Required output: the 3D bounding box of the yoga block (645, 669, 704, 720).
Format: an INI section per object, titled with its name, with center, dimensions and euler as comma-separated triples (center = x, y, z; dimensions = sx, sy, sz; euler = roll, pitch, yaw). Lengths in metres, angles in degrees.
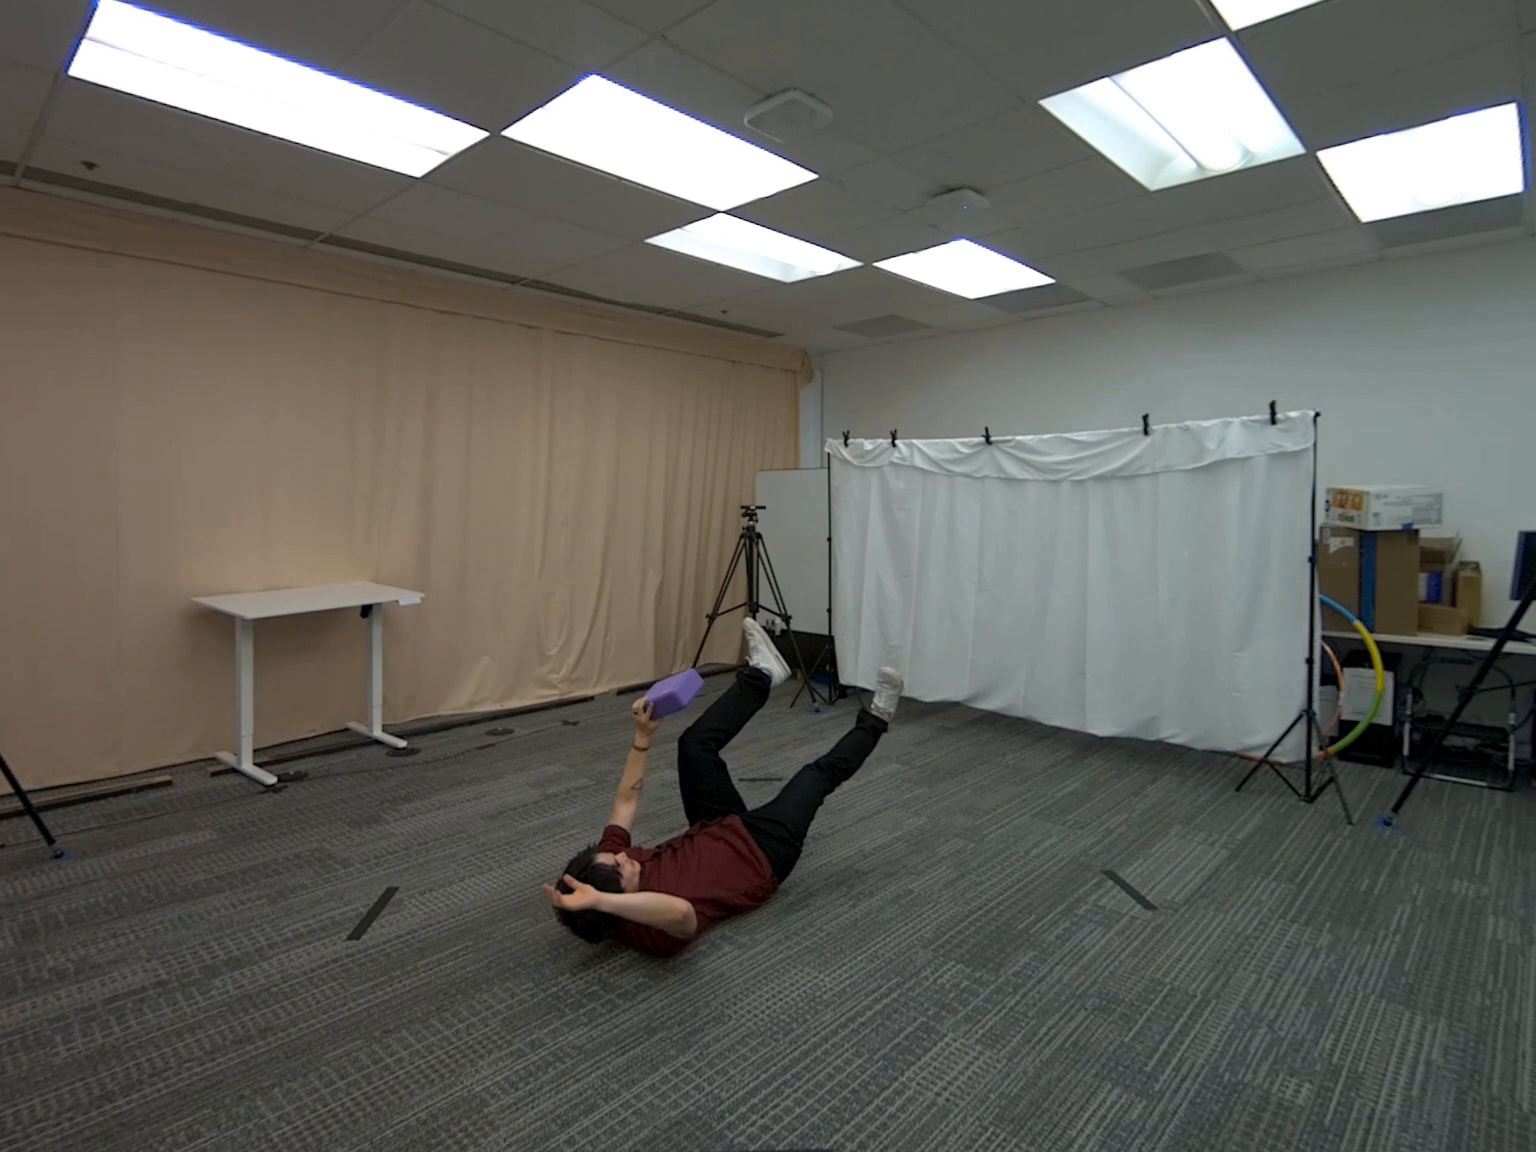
[yoga block]
center = -0.345, 0.422, 2.978
dimensions = 0.233, 0.075, 0.148
euler = -27, 13, 35
